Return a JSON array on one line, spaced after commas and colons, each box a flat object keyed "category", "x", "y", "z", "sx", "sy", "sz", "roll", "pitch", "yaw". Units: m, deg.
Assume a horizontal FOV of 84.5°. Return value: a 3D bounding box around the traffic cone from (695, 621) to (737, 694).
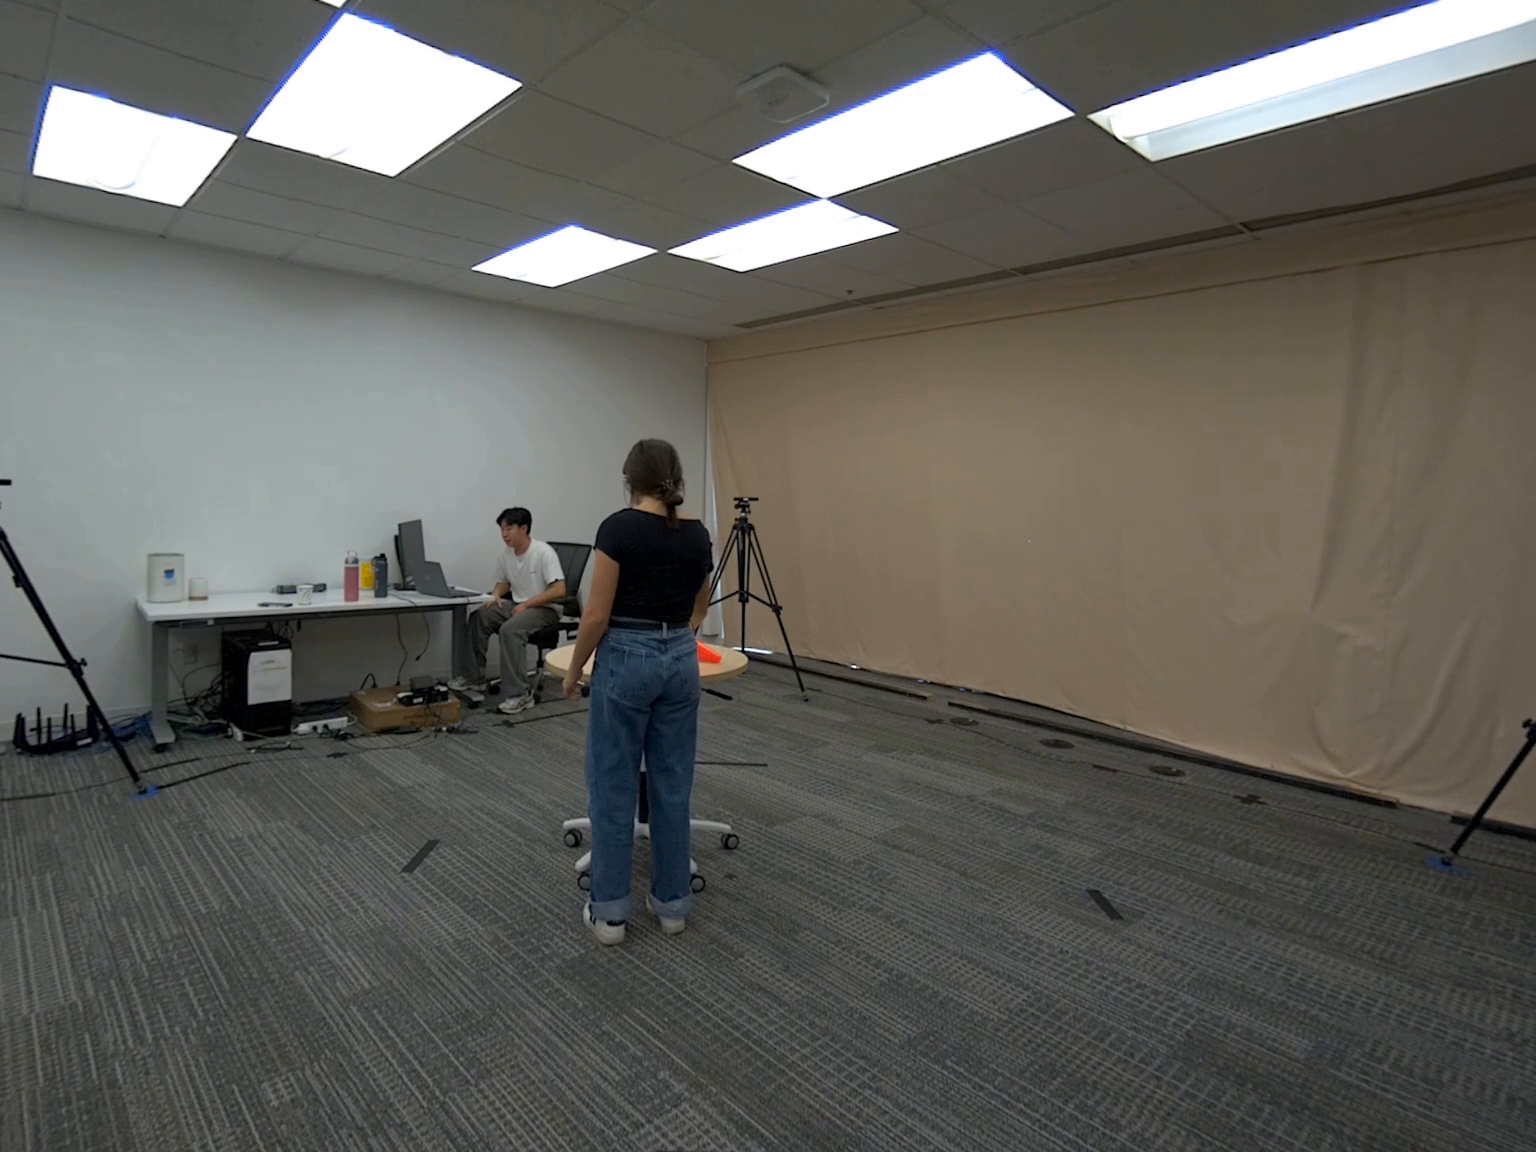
[{"category": "traffic cone", "x": -0.357, "y": 0.264, "z": 3.203, "sx": 0.392, "sy": 0.204, "sz": 0.199, "roll": 18, "pitch": 9, "yaw": 25}]
